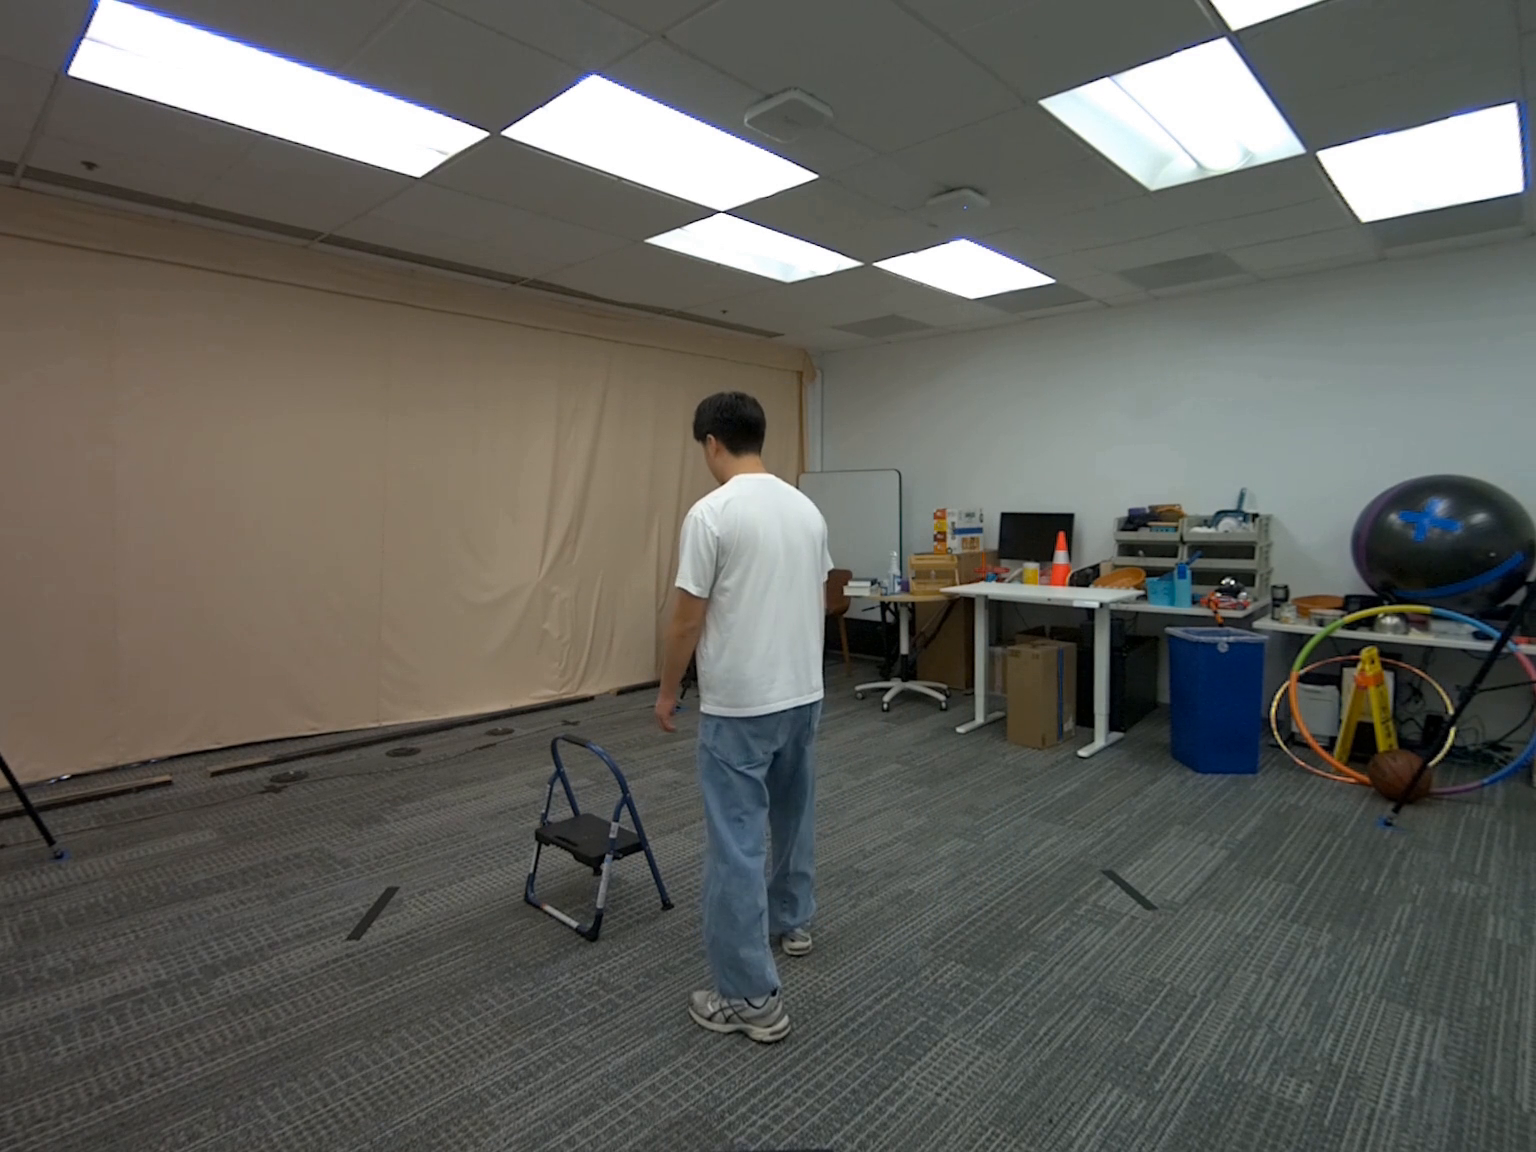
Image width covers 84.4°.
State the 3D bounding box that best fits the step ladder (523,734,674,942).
[{"bbox_3d":[-0.599,0.847,2.937,0.445,0.605,0.338,2,4,43],"label":"step ladder"}]
